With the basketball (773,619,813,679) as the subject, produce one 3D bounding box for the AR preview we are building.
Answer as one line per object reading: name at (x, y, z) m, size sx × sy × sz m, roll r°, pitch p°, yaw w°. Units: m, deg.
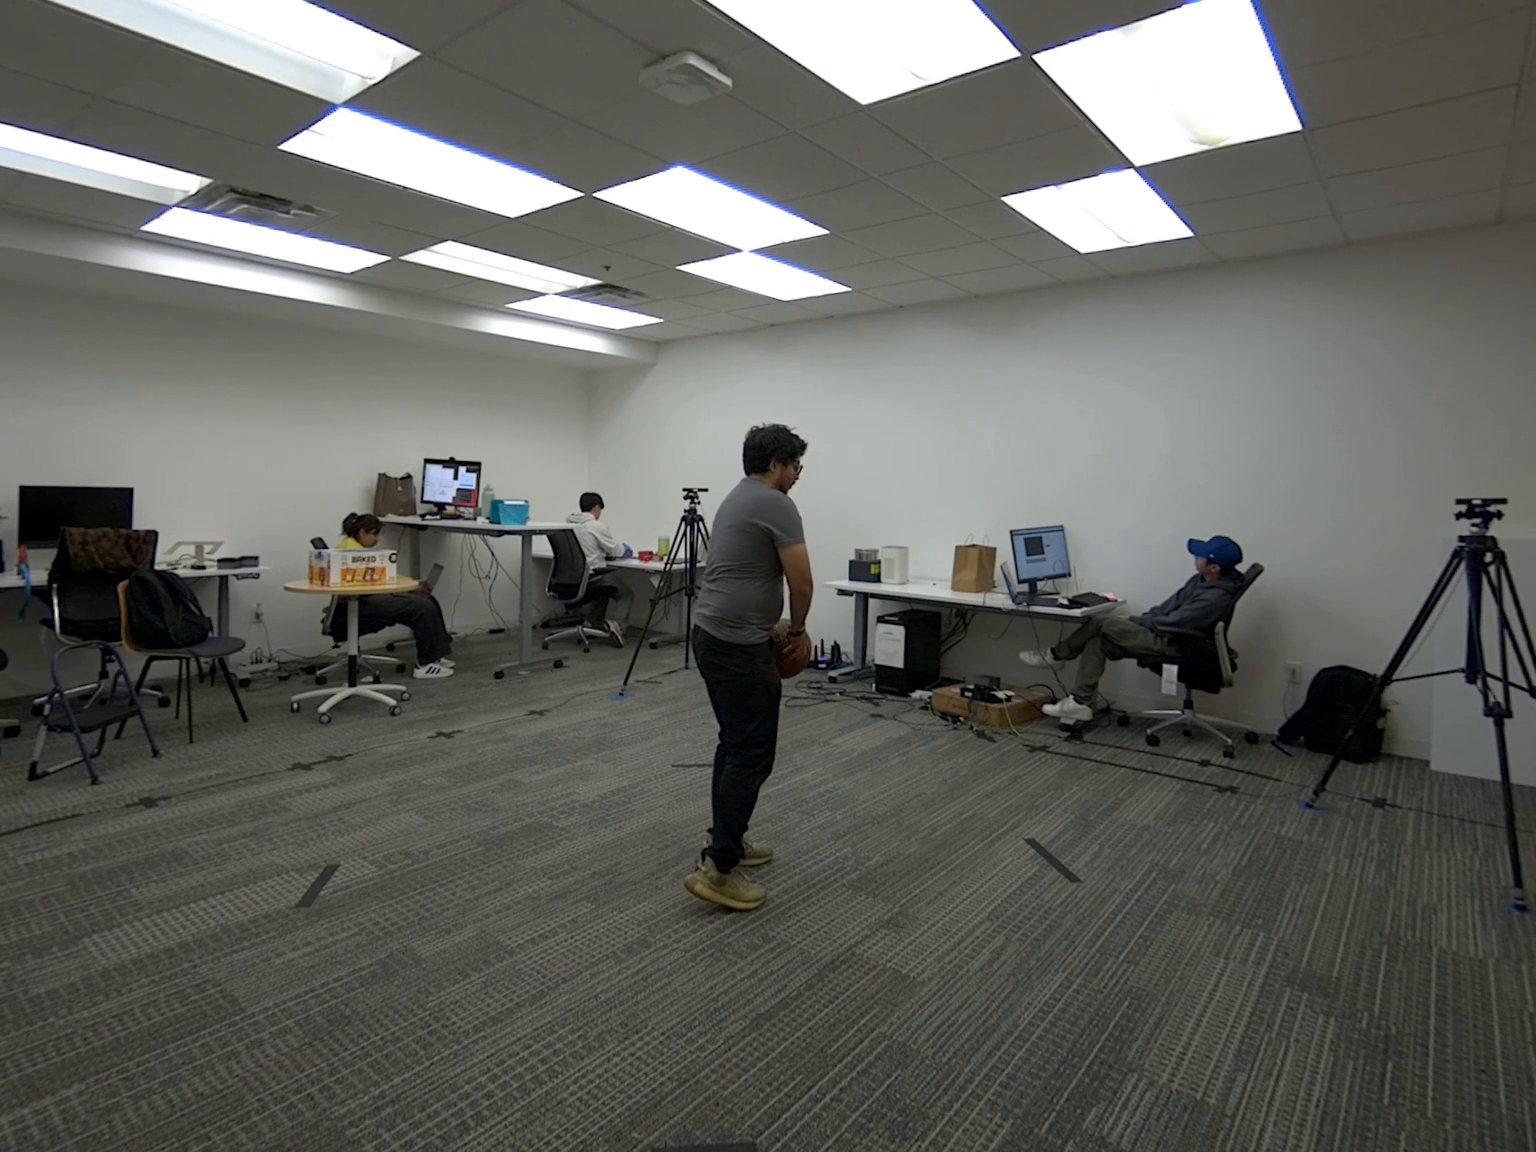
basketball at (0.049, 0.277, 3.374) m, size 0.235 × 0.235 × 0.237 m, roll 1°, pitch 4°, yaw -2°
